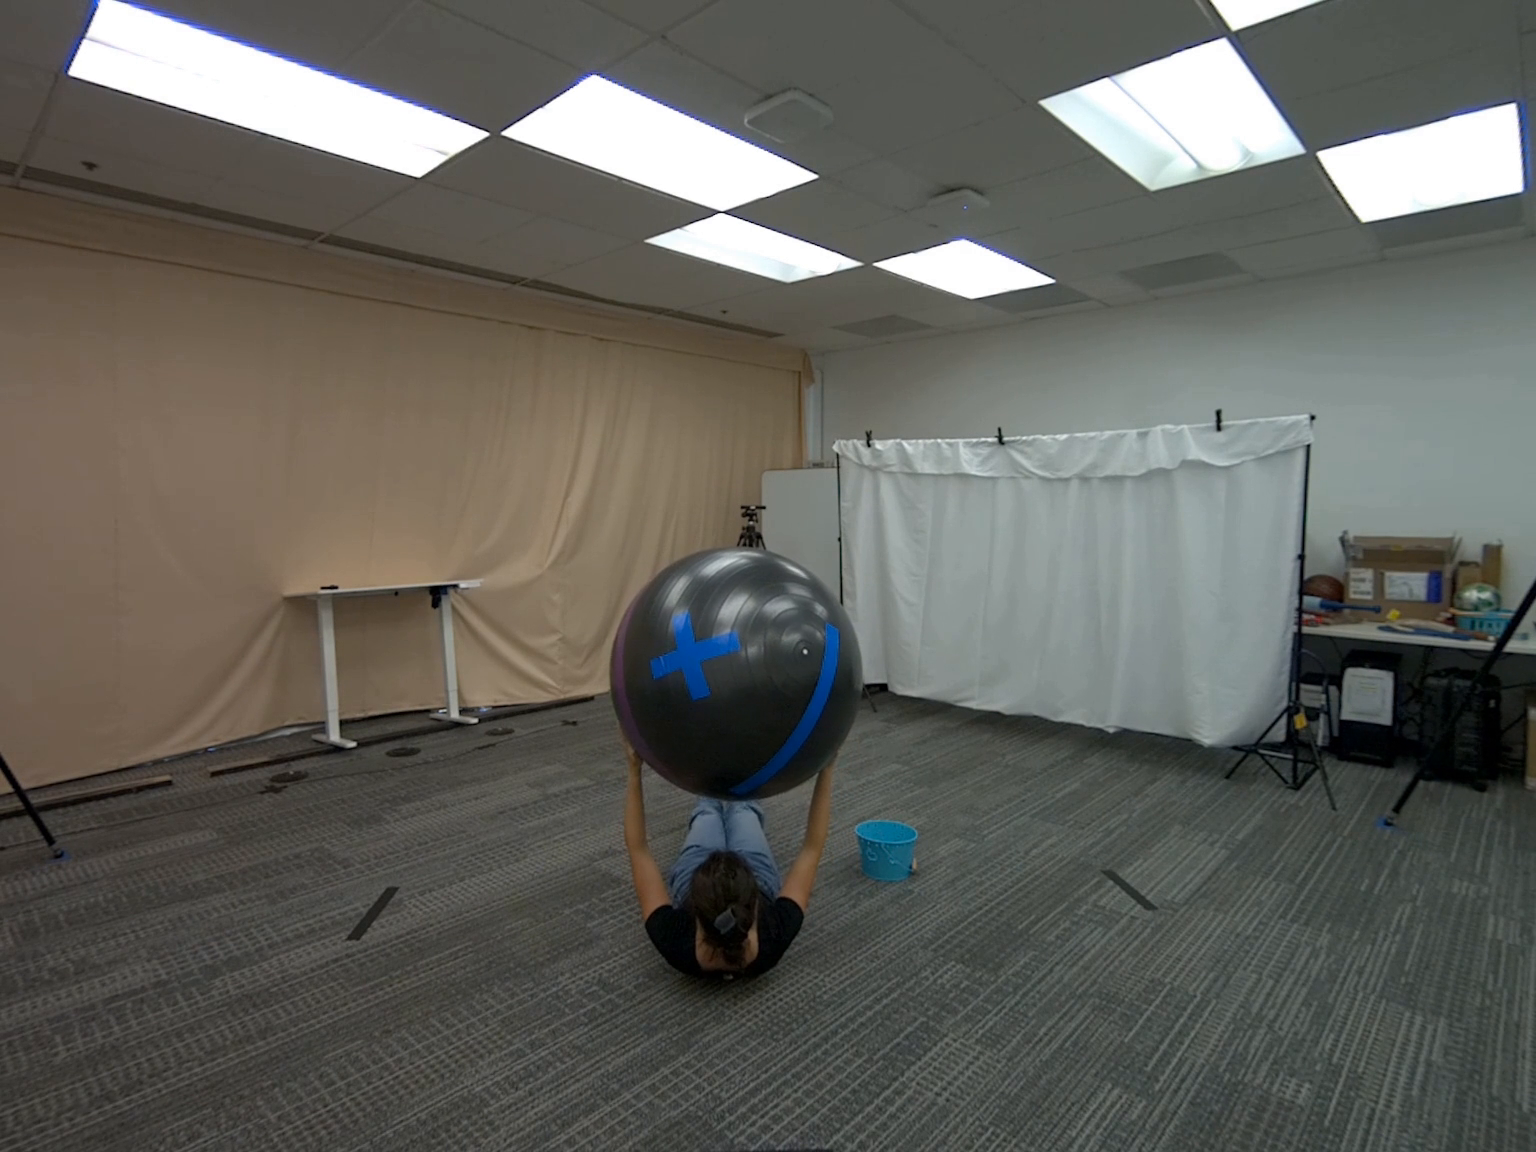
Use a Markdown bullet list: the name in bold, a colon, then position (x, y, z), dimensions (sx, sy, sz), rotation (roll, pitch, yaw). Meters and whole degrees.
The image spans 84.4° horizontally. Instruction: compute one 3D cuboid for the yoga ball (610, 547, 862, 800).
- **yoga ball**: position (-0.093, 0.294, 2.550), dimensions (0.757, 0.756, 0.760), rotation (0, 4, -2)
